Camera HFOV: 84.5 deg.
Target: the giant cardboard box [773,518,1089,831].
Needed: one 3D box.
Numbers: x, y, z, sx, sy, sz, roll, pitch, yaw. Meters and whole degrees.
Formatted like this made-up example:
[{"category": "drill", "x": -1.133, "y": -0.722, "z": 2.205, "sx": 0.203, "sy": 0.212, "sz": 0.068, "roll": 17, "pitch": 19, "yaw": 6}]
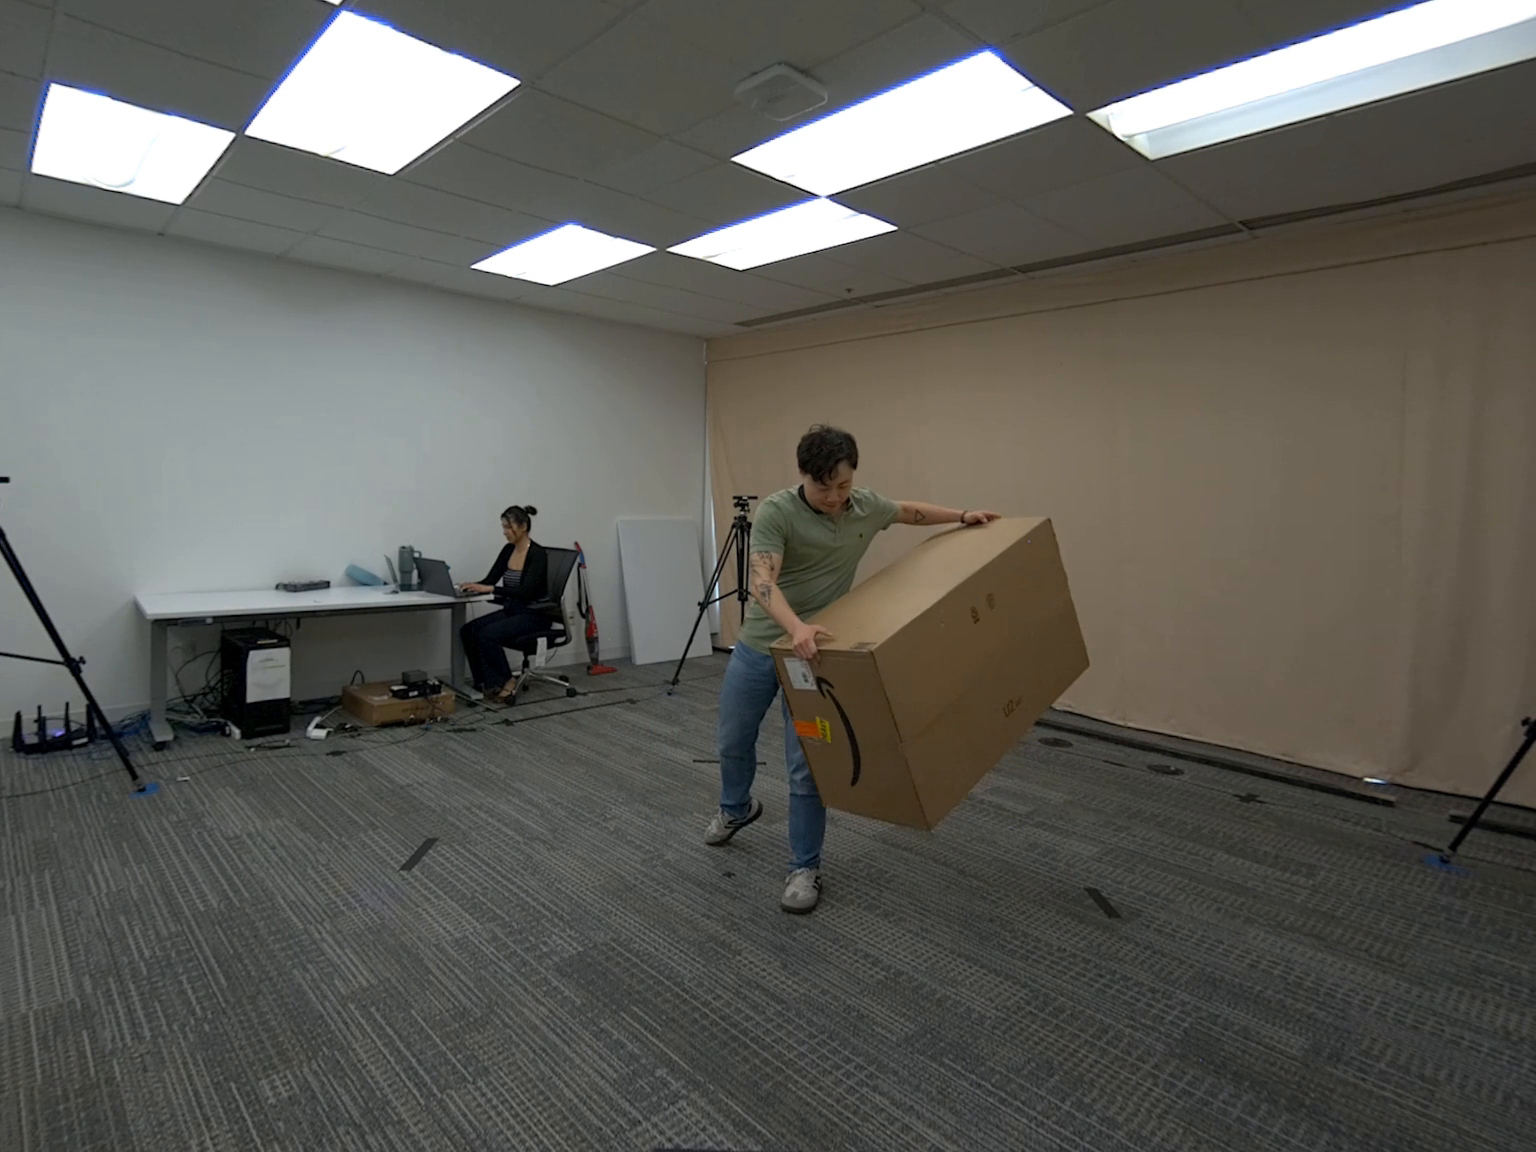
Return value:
[{"category": "giant cardboard box", "x": 0.564, "y": 0.273, "z": 2.781, "sx": 1.016, "sy": 0.571, "sz": 0.435, "roll": -30, "pitch": 16, "yaw": -37}]
